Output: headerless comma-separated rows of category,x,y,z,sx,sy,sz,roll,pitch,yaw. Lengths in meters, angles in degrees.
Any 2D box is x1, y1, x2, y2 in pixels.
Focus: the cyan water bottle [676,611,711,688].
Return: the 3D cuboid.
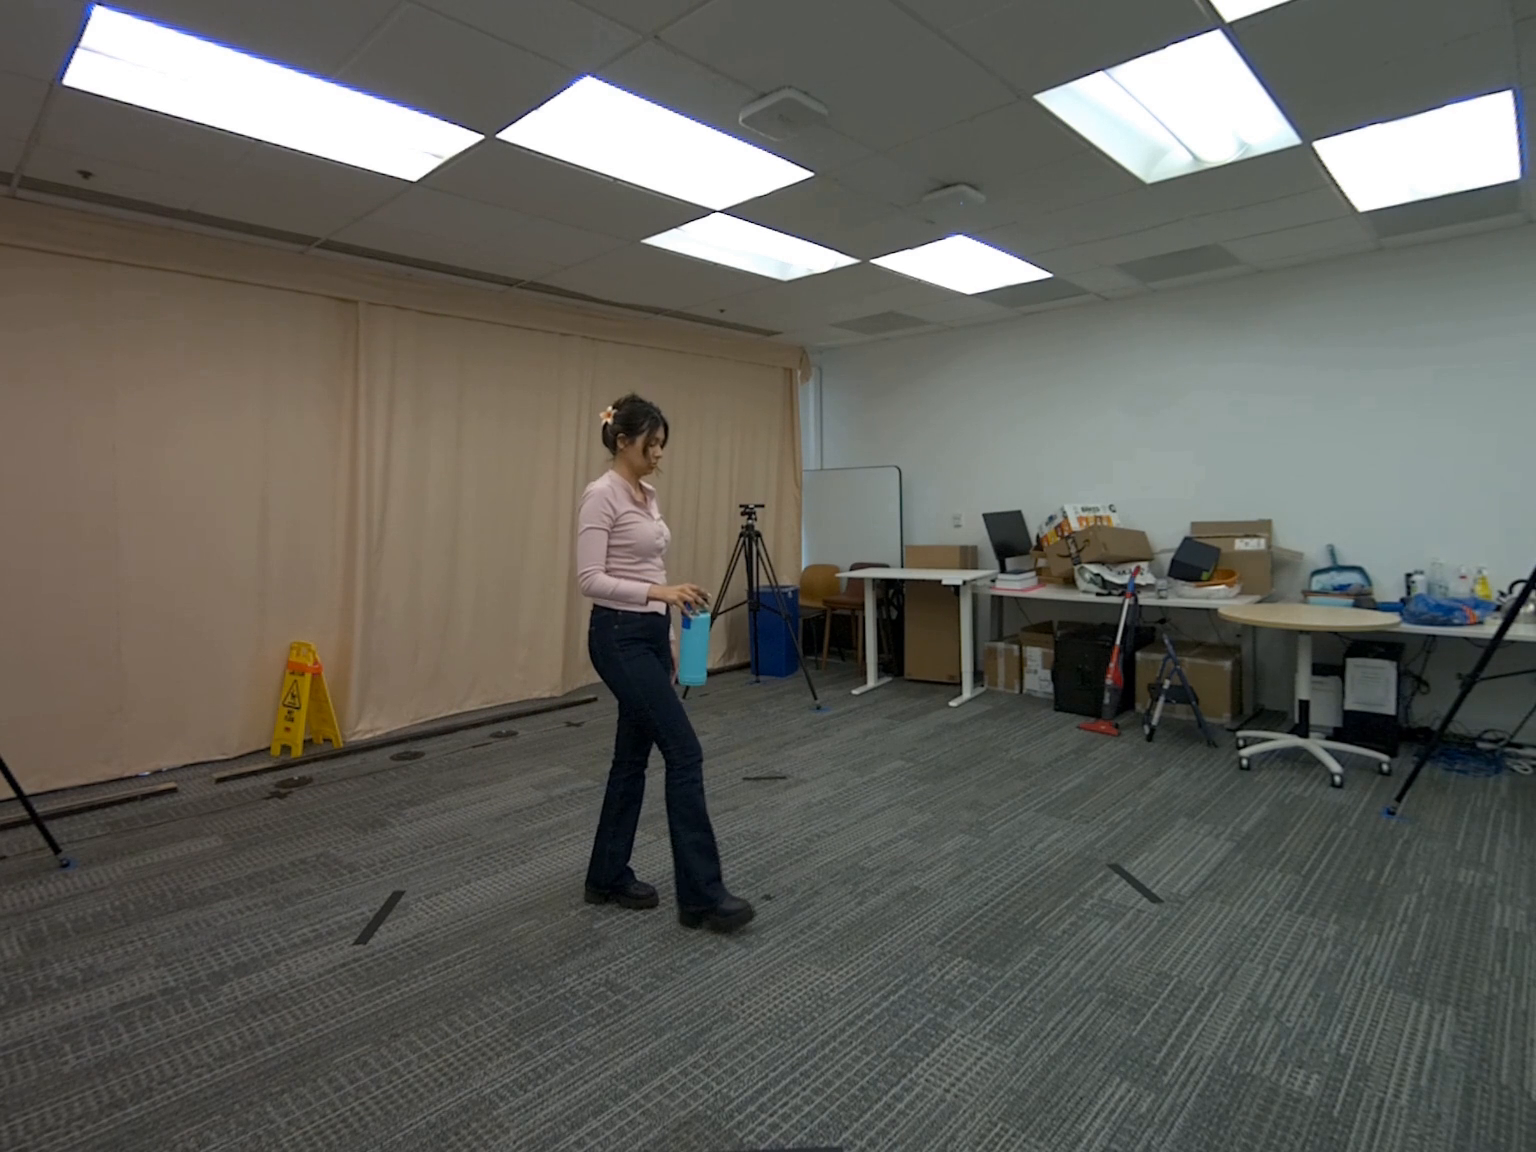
cyan water bottle,-0.228,0.196,2.606,0.092,0.282,0.093,1,7,-2
